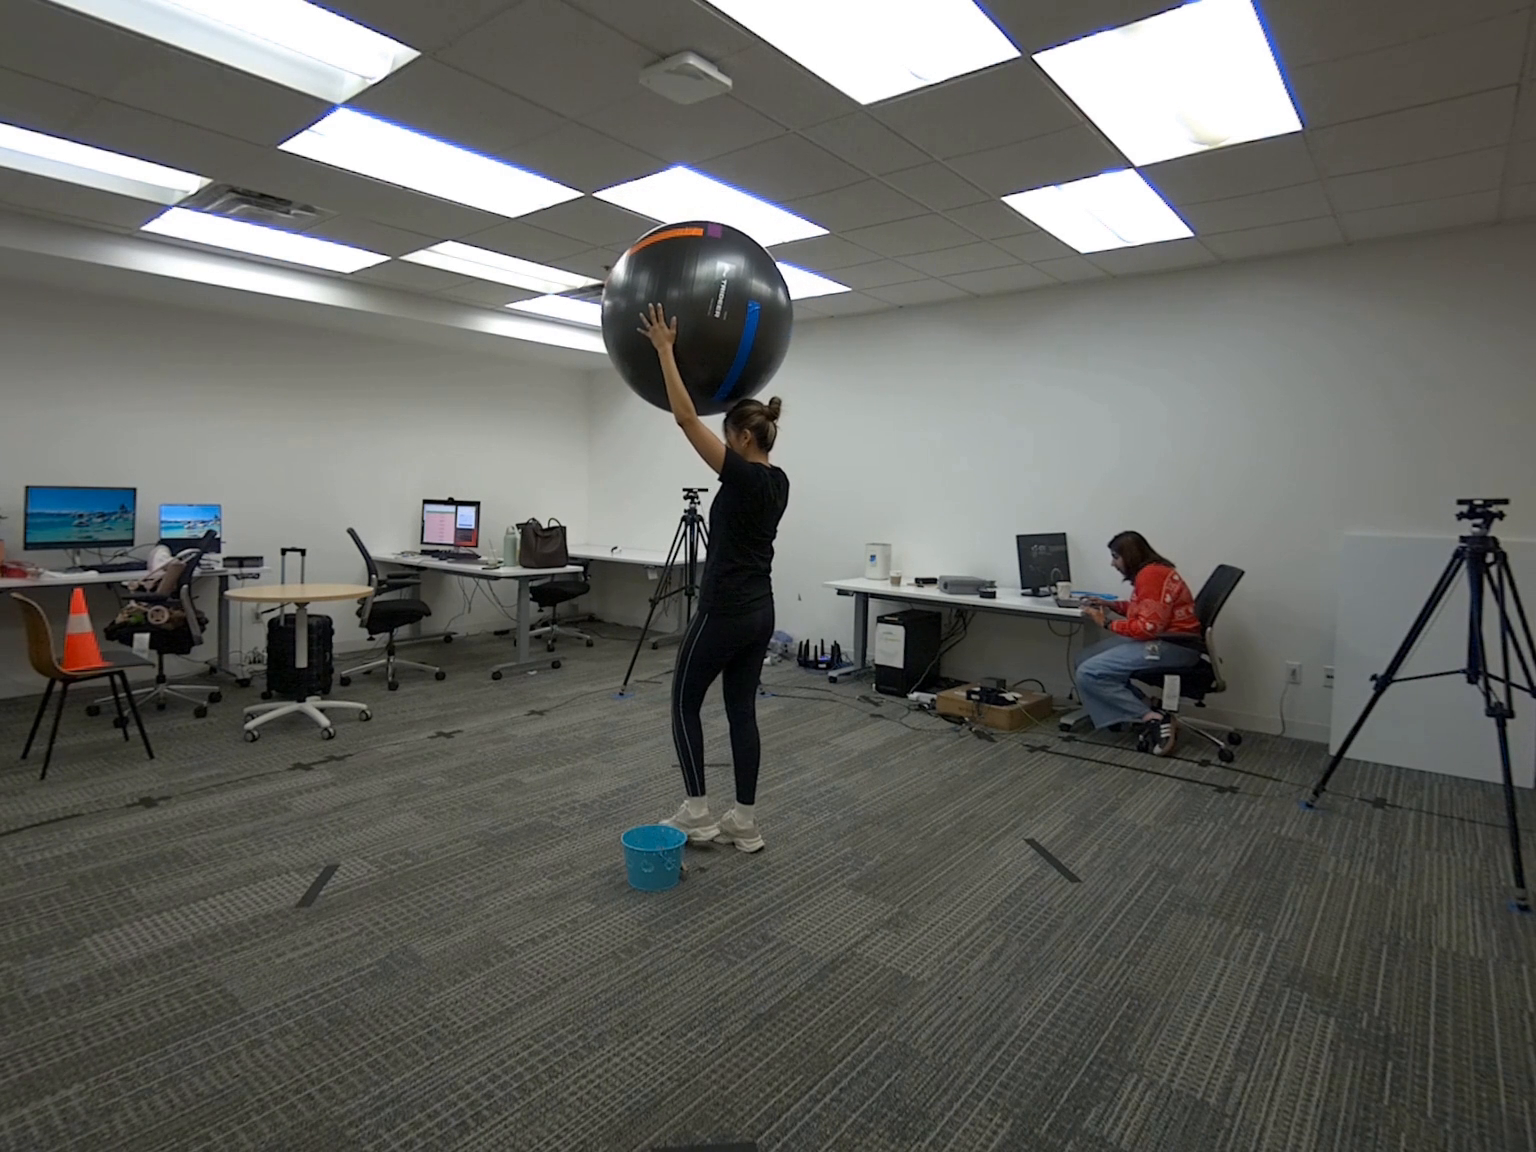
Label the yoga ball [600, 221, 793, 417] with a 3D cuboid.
[{"bbox_3d":[-0.293,-1.011,3.376,0.757,0.755,0.762,1,4,-2],"label":"yoga ball"}]
